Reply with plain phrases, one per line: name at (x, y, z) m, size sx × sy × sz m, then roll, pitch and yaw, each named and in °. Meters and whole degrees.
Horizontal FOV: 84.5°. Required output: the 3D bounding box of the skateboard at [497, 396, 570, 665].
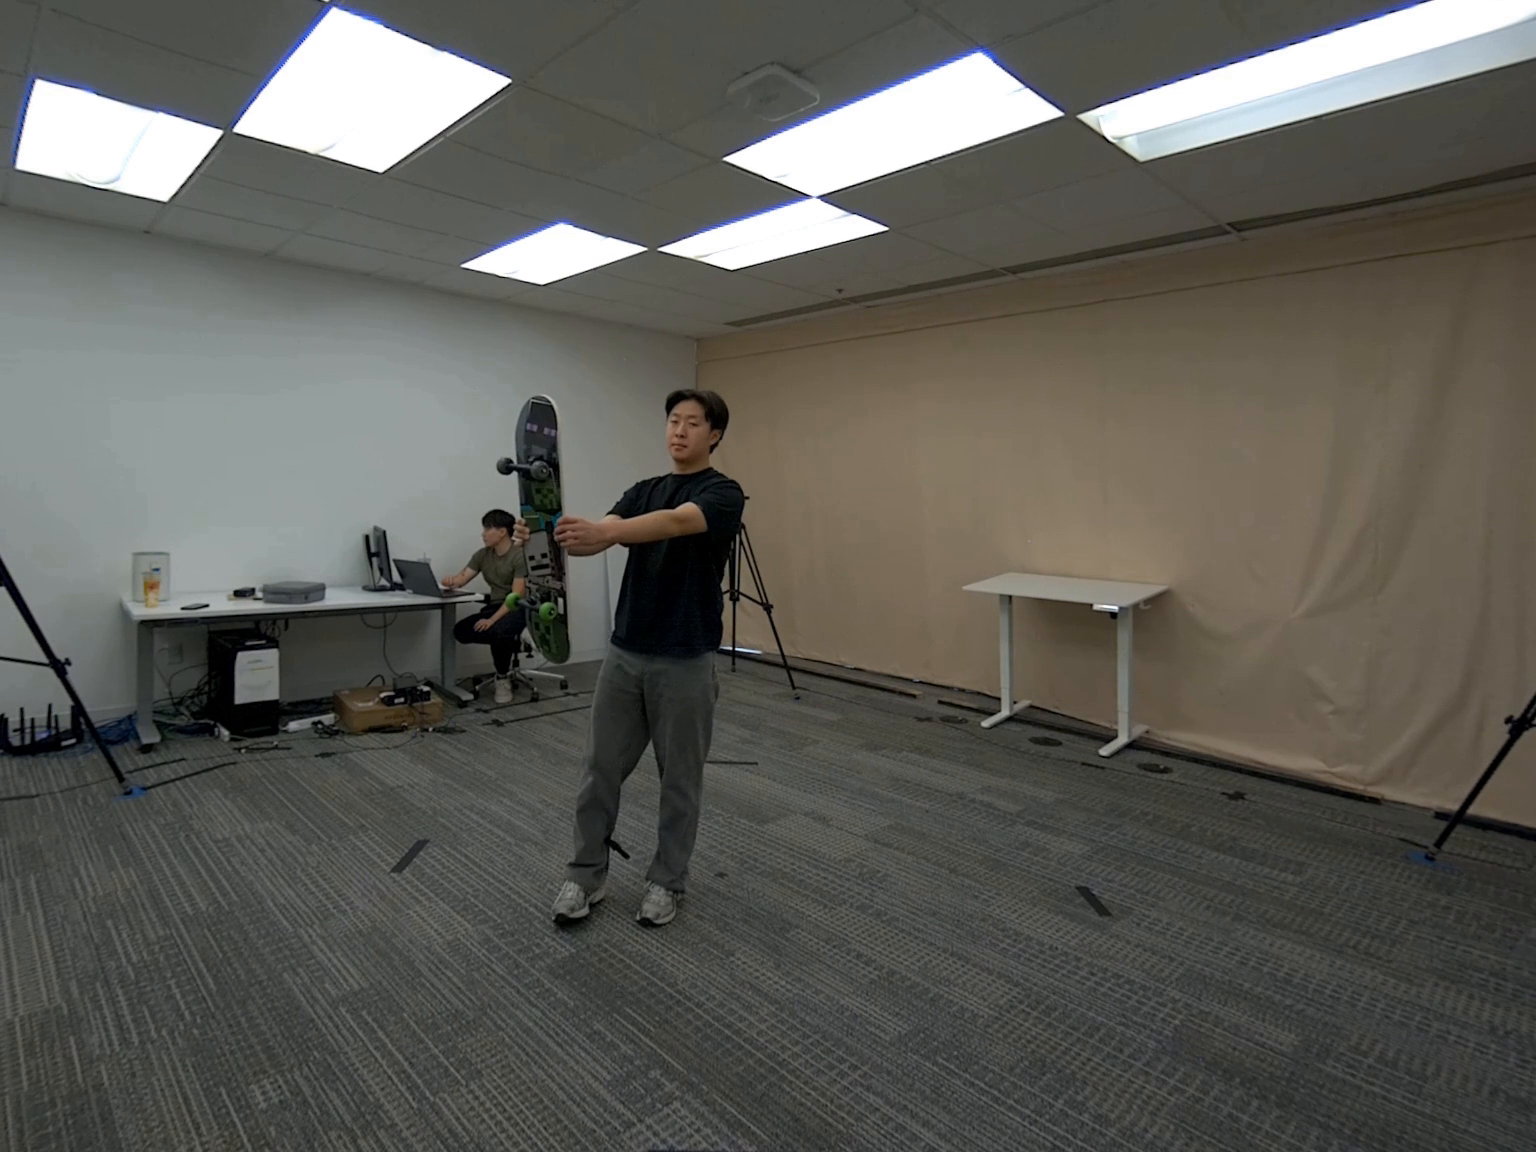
skateboard at (-0.658, -0.106, 2.391) m, size 0.198 × 0.778 × 0.108 m, roll 10°, pitch 16°, yaw 37°
